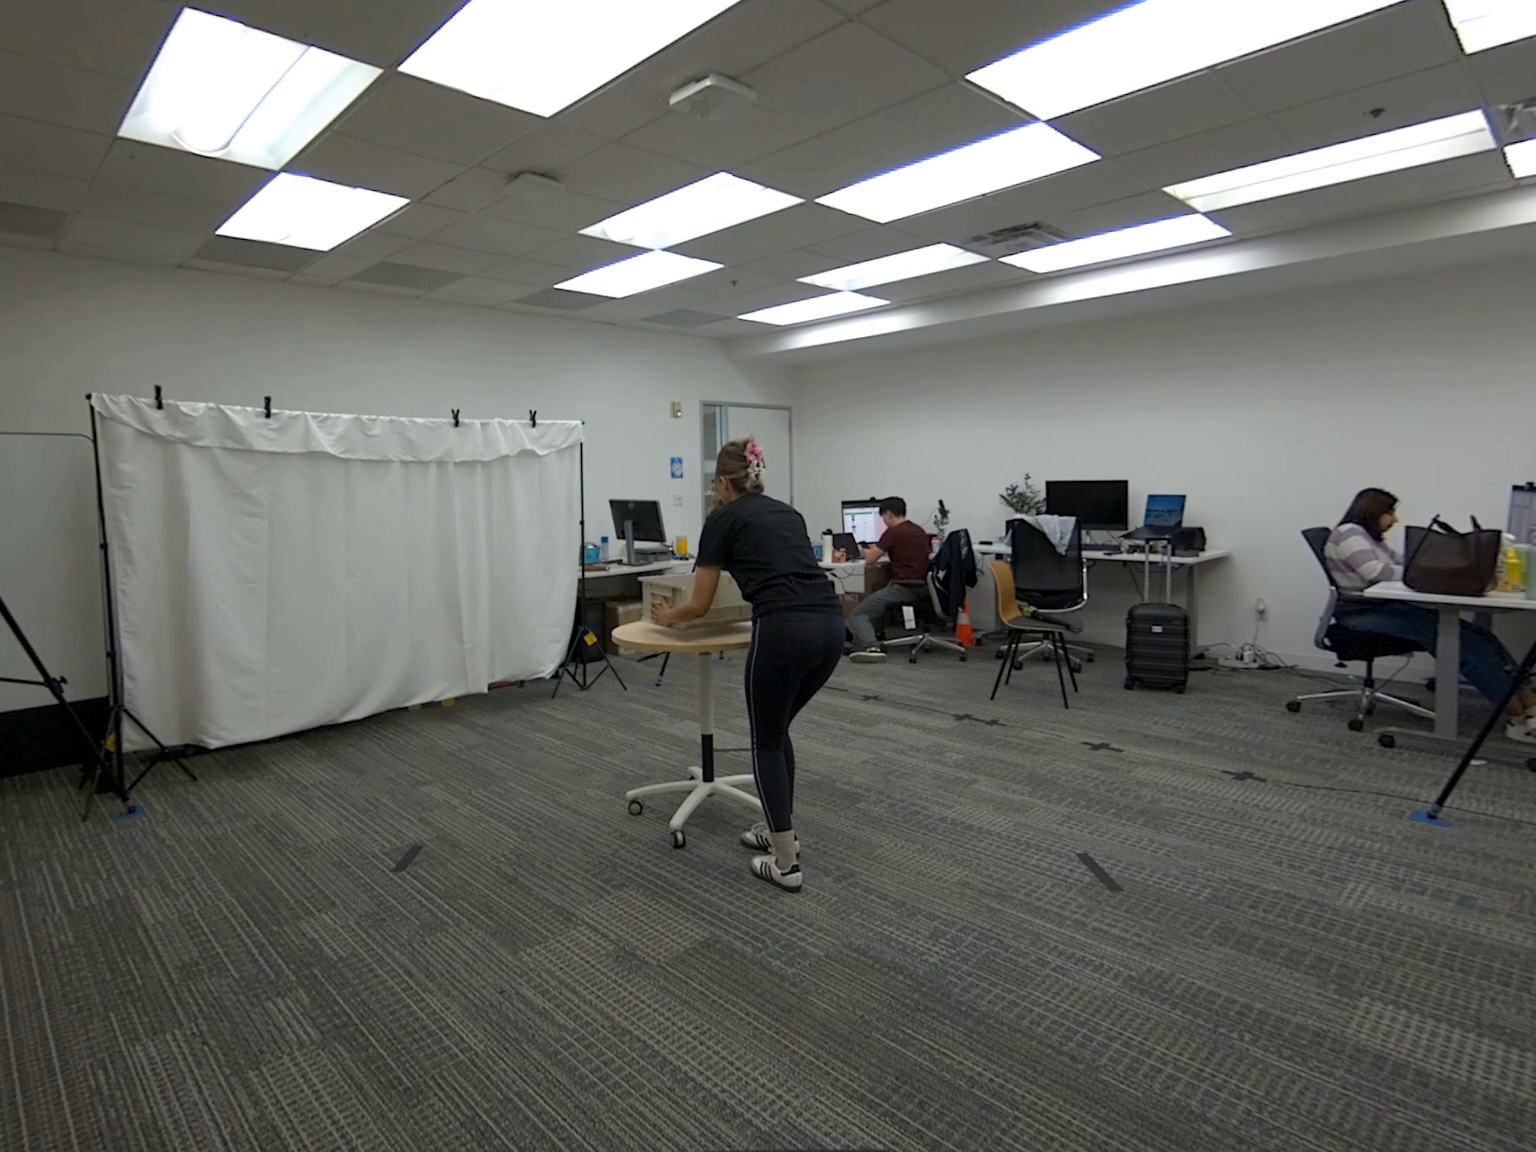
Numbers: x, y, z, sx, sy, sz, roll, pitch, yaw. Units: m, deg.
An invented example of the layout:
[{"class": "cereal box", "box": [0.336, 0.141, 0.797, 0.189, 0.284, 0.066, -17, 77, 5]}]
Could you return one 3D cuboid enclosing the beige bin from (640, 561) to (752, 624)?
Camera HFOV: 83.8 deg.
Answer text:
[{"class": "beige bin", "box": [-0.260, 0.097, 3.533, 0.412, 0.188, 0.388, -7, 8, -37]}]
